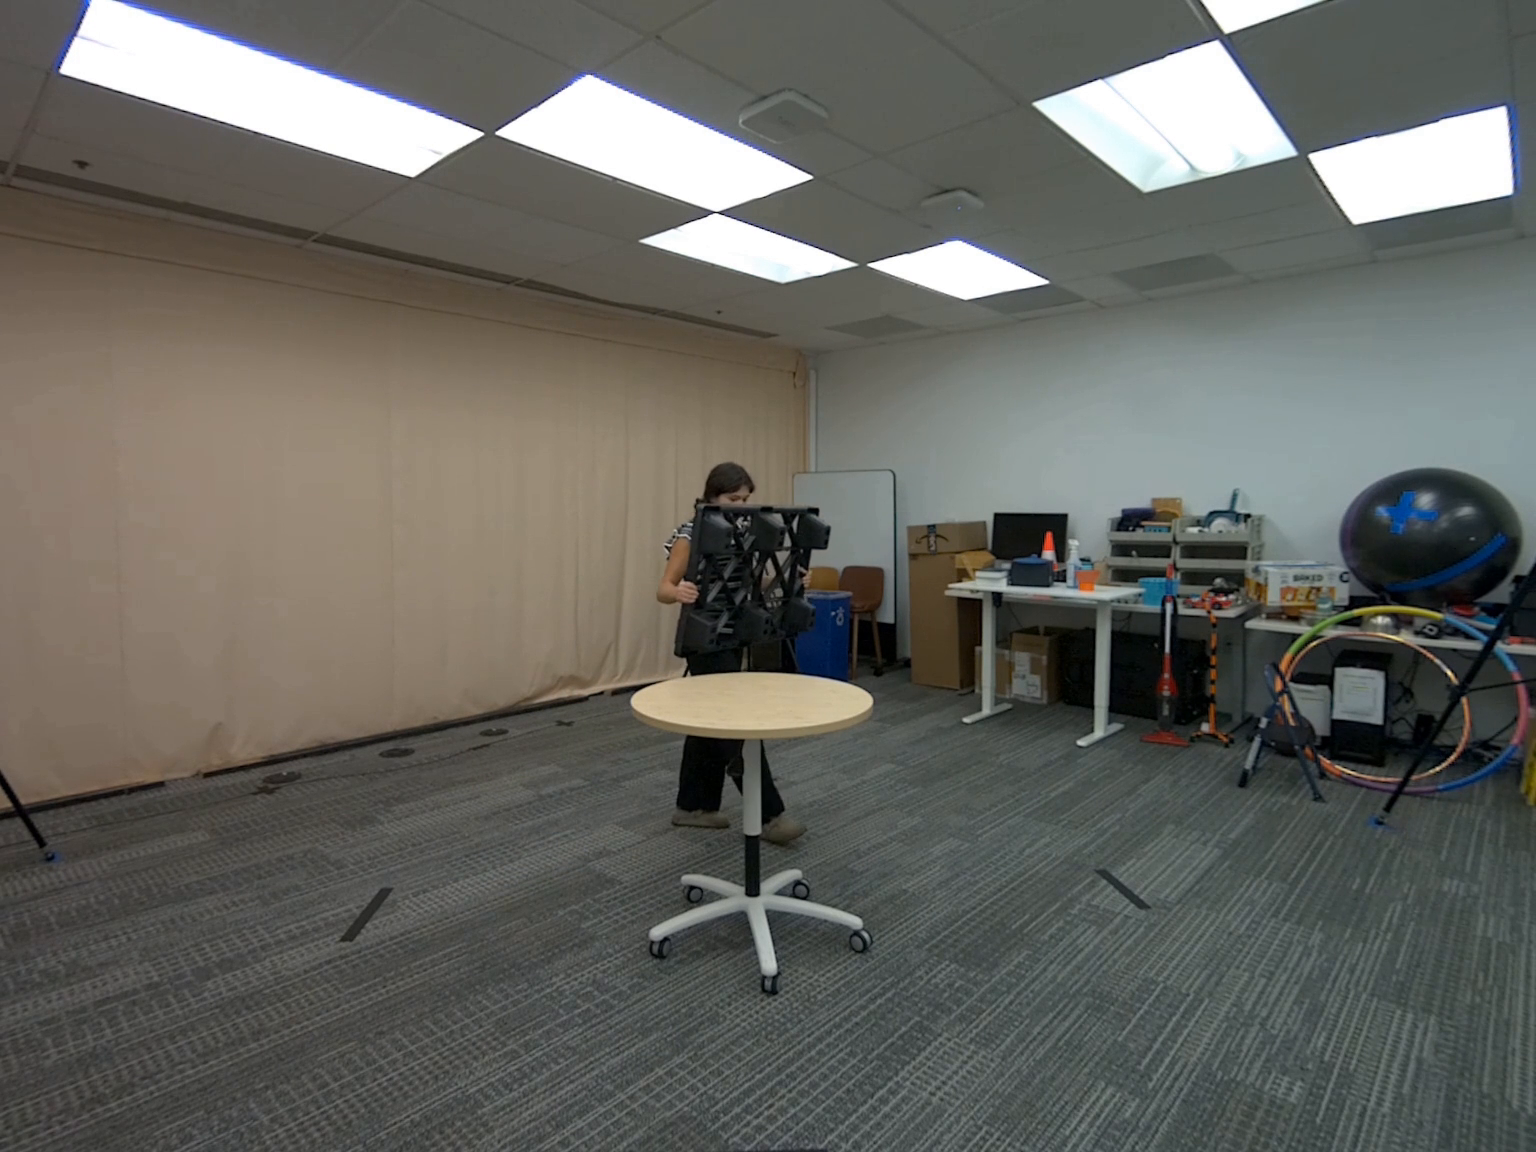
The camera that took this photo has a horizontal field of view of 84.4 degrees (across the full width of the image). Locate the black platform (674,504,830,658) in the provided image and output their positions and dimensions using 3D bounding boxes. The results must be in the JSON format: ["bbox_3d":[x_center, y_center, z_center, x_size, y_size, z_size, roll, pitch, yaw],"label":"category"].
[{"bbox_3d":[-0.026,0.006,3.454,0.148,0.602,0.781,17,13,36],"label":"black platform"}]
